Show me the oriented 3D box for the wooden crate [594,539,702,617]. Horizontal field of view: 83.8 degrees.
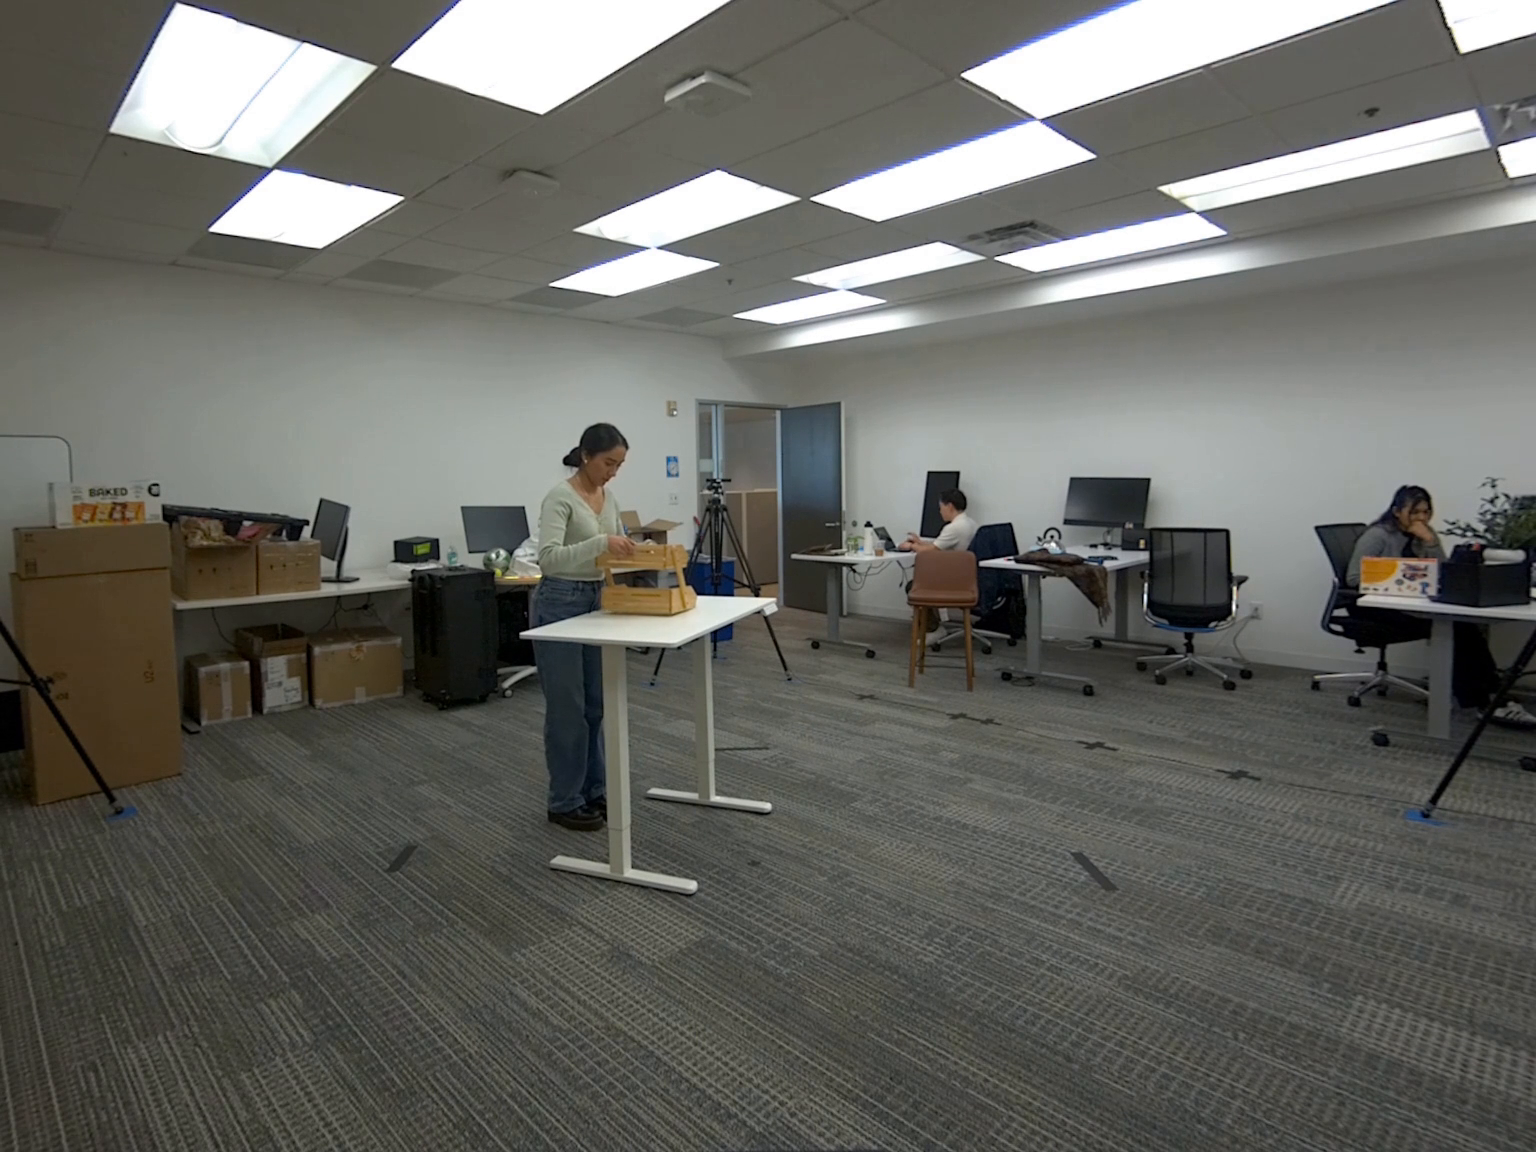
[{"bbox_3d":[-0.470,-0.002,3.360,0.330,0.273,0.297,2,2,19],"label":"wooden crate"}]
